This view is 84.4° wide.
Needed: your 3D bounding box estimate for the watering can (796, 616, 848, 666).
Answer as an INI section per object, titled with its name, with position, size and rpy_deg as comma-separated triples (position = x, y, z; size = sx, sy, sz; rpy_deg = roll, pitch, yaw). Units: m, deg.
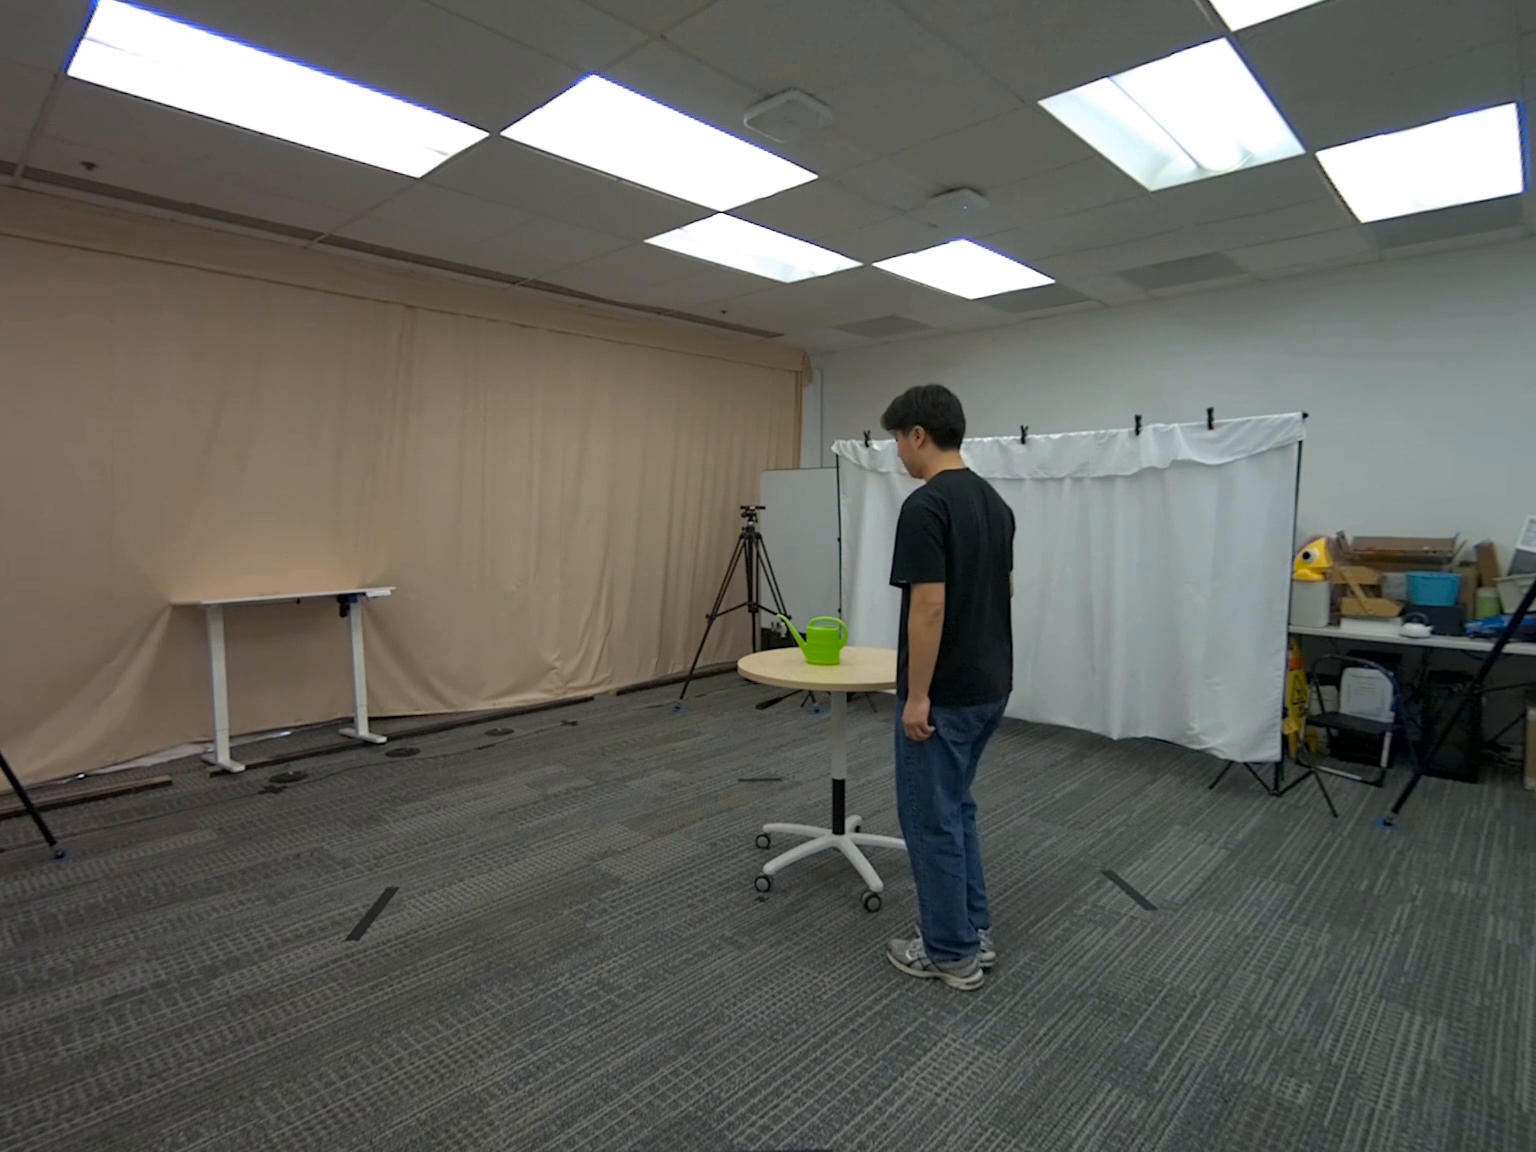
[watering can]
position = 0.178, 0.239, 3.208
size = 0.287, 0.176, 0.095
rpy_deg = 4, 4, 31
